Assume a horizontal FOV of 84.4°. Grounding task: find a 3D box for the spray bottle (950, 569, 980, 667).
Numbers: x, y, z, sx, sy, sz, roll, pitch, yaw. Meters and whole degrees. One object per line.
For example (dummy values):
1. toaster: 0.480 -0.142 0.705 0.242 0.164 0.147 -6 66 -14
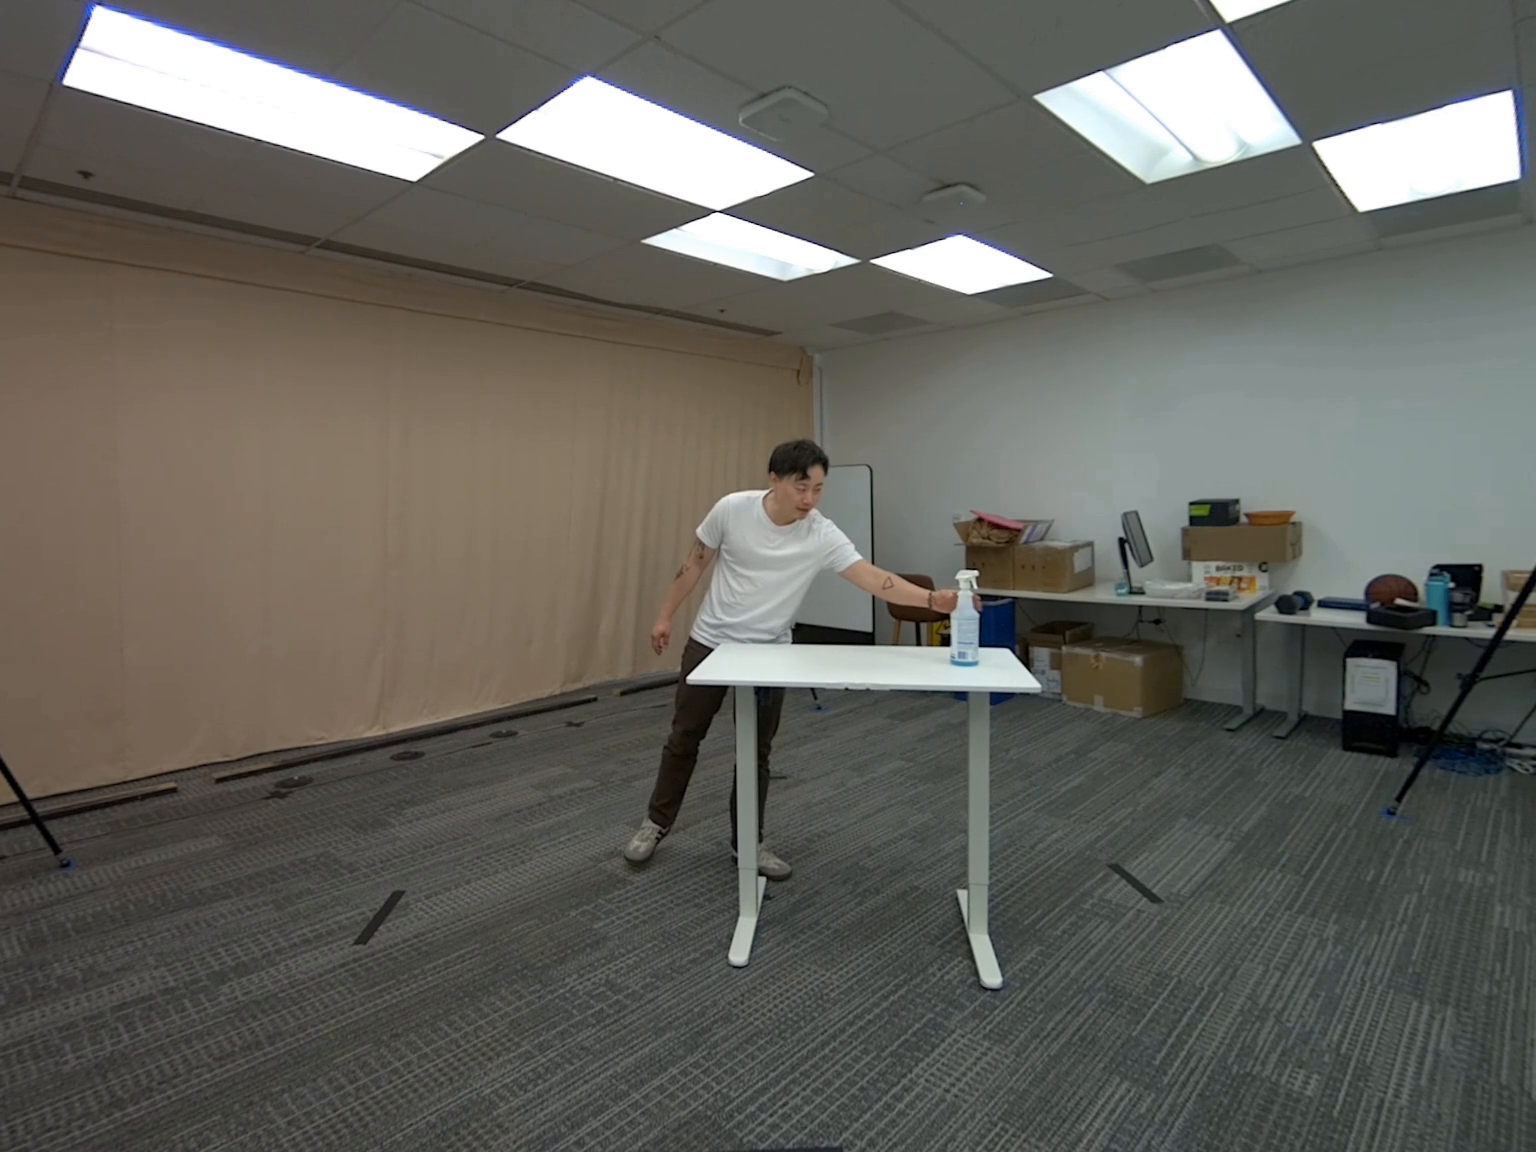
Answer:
1. spray bottle: 0.620 0.132 2.630 0.087 0.296 0.090 0 5 -2
